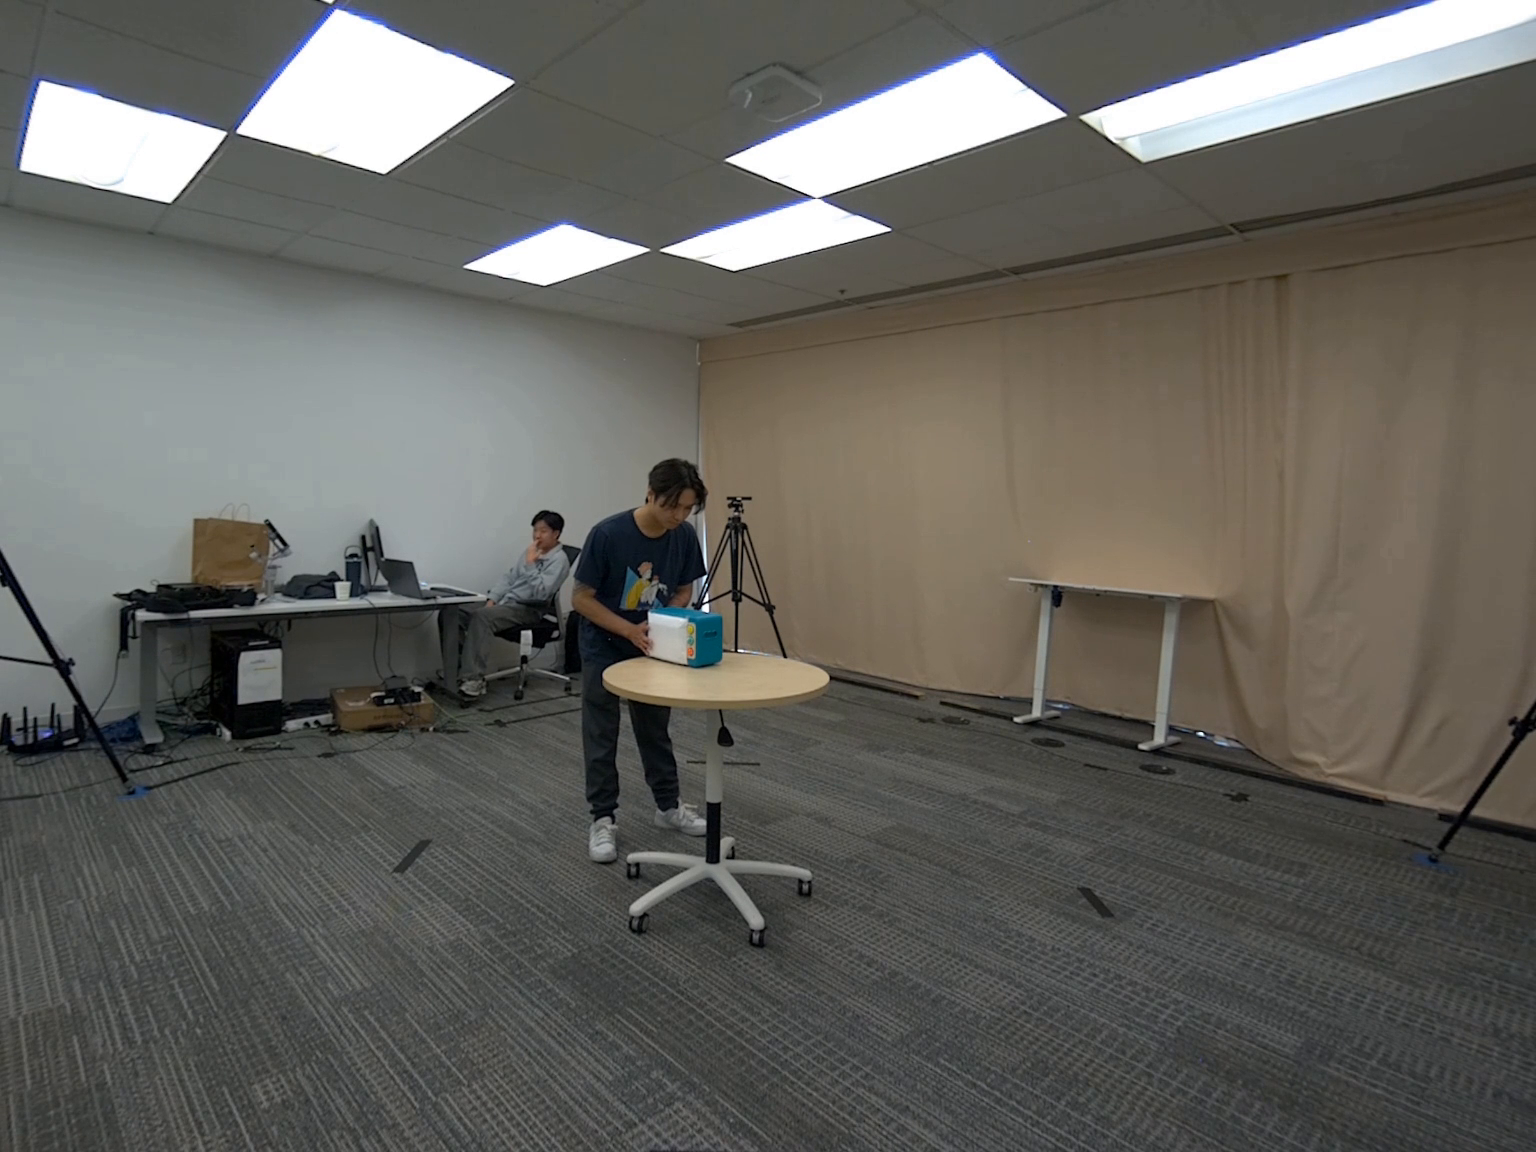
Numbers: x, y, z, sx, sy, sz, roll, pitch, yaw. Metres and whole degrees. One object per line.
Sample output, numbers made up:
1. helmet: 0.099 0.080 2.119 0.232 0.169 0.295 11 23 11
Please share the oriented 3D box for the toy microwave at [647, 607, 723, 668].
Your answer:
1. toy microwave: -0.313 0.222 3.042 0.293 0.183 0.149 5 5 42
